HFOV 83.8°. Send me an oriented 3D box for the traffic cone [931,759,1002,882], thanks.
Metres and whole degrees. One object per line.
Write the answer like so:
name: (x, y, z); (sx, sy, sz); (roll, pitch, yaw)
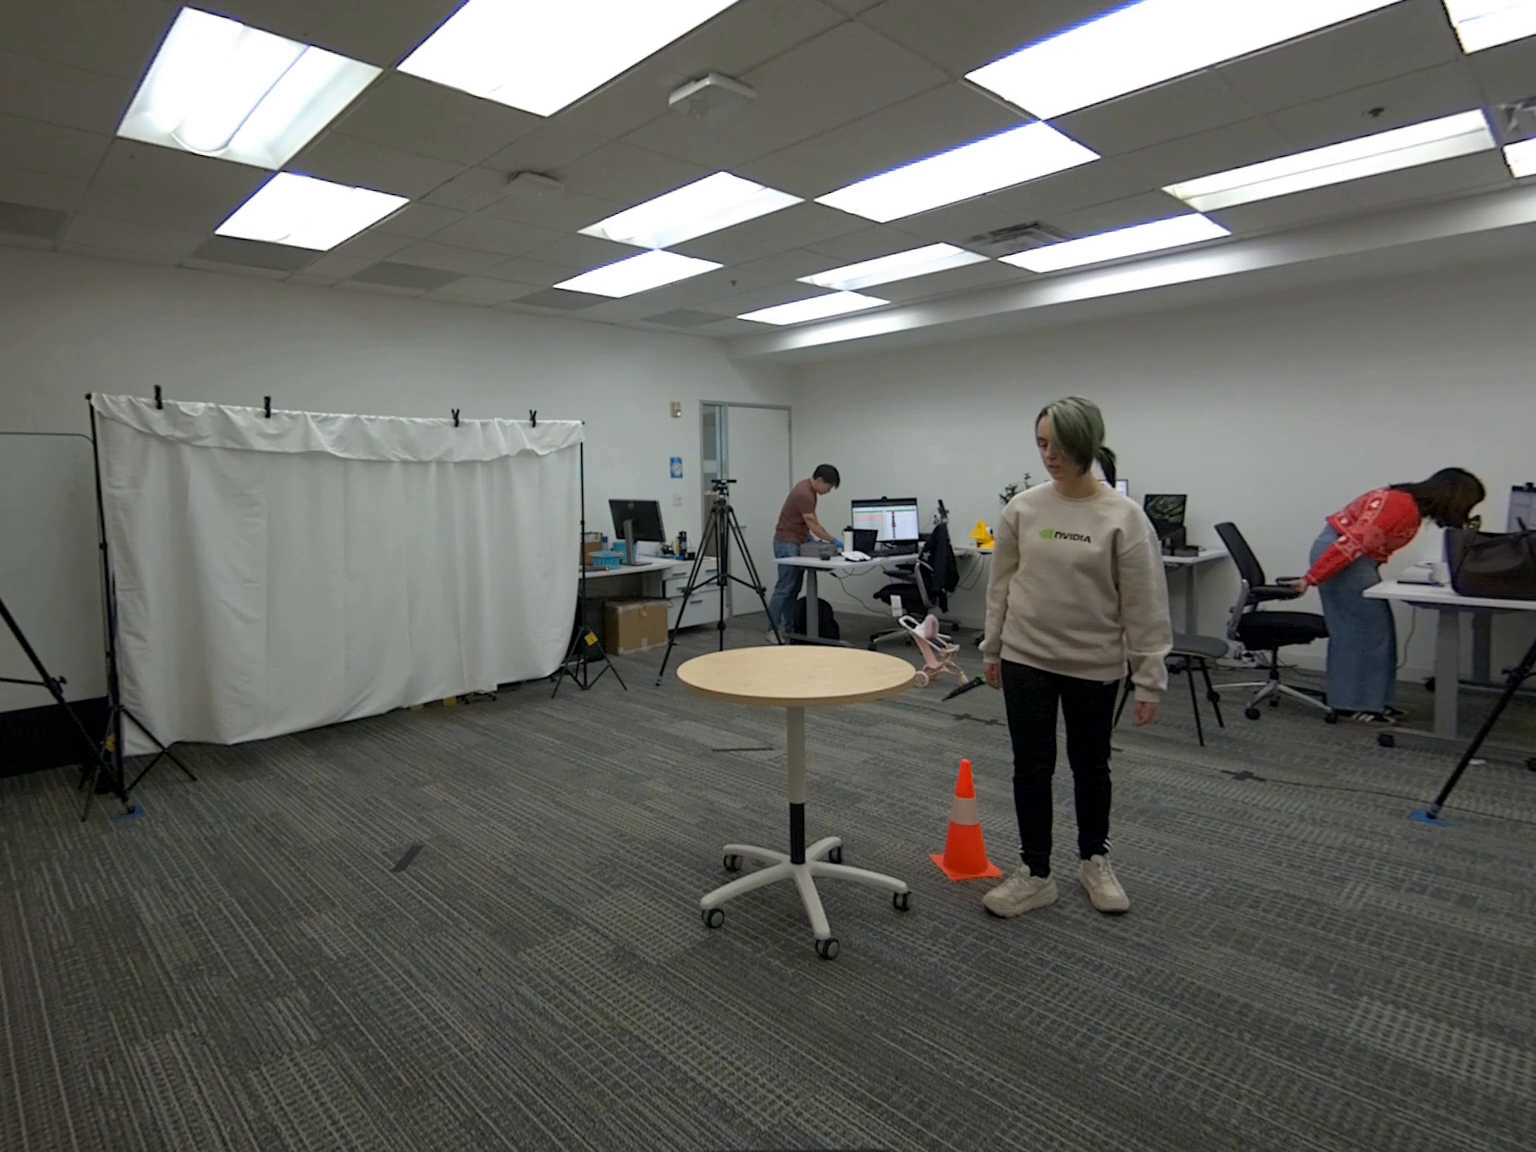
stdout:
traffic cone: (0.716, 0.856, 3.054); (0.202, 0.382, 0.206); (-1, 4, -13)
